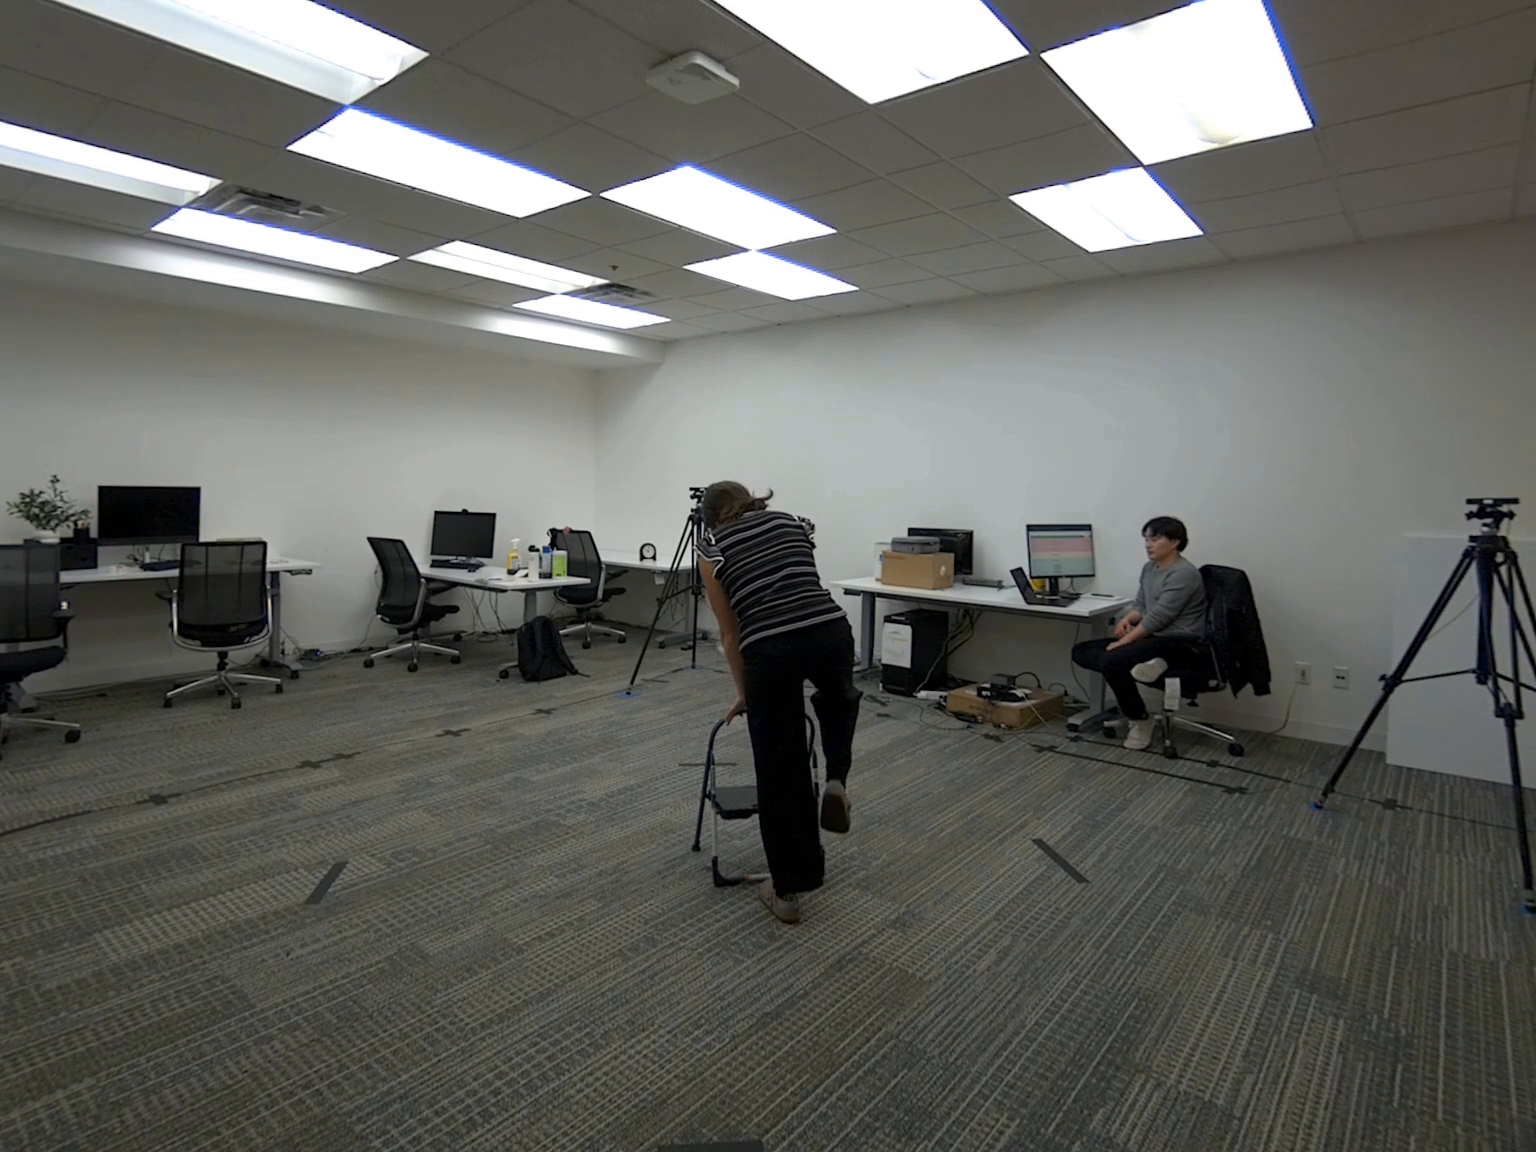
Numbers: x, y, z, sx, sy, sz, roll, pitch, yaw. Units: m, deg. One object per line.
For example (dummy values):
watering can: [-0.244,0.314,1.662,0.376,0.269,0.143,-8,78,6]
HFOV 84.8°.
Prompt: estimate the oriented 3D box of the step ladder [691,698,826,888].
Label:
step ladder: [-0.044,0.762,3.158,0.424,0.604,0.356,0,3,-16]
